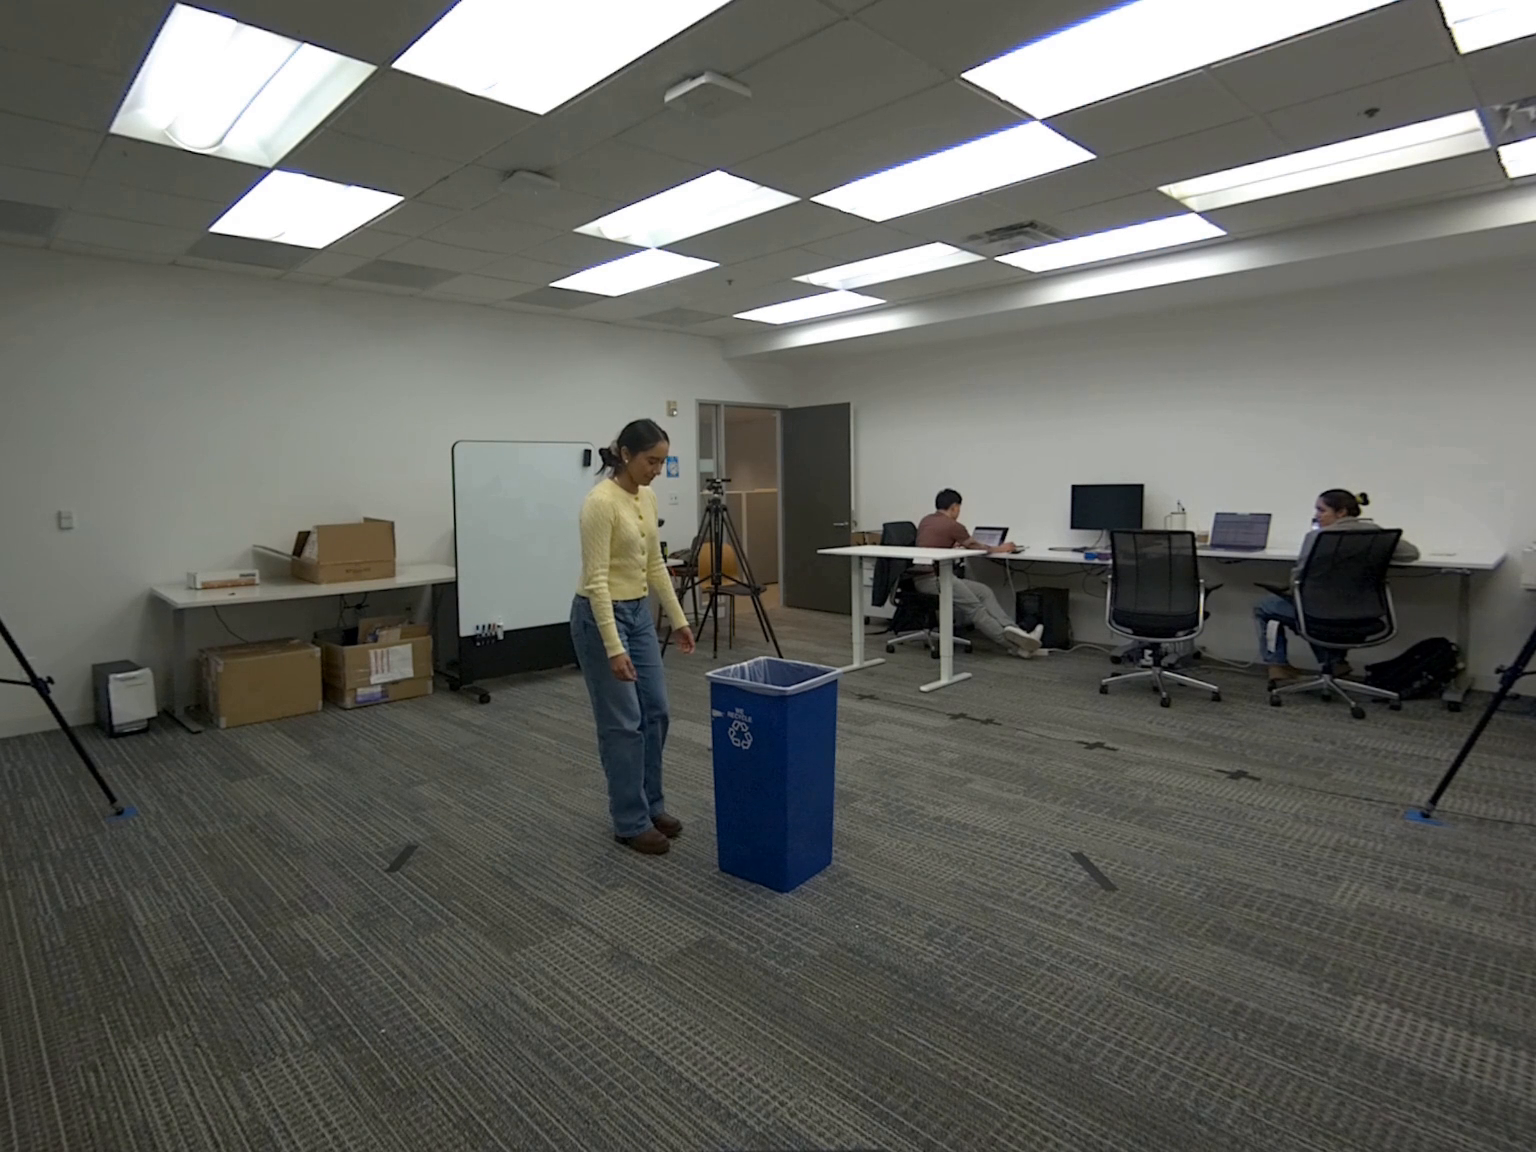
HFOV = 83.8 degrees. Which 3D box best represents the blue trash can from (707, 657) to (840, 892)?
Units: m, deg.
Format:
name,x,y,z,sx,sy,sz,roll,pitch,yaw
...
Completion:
name,x,y,z,sx,sy,sz,roll,pitch,yaw
blue trash can,0.031,0.691,3.051,0.385,0.711,0.368,2,5,37
